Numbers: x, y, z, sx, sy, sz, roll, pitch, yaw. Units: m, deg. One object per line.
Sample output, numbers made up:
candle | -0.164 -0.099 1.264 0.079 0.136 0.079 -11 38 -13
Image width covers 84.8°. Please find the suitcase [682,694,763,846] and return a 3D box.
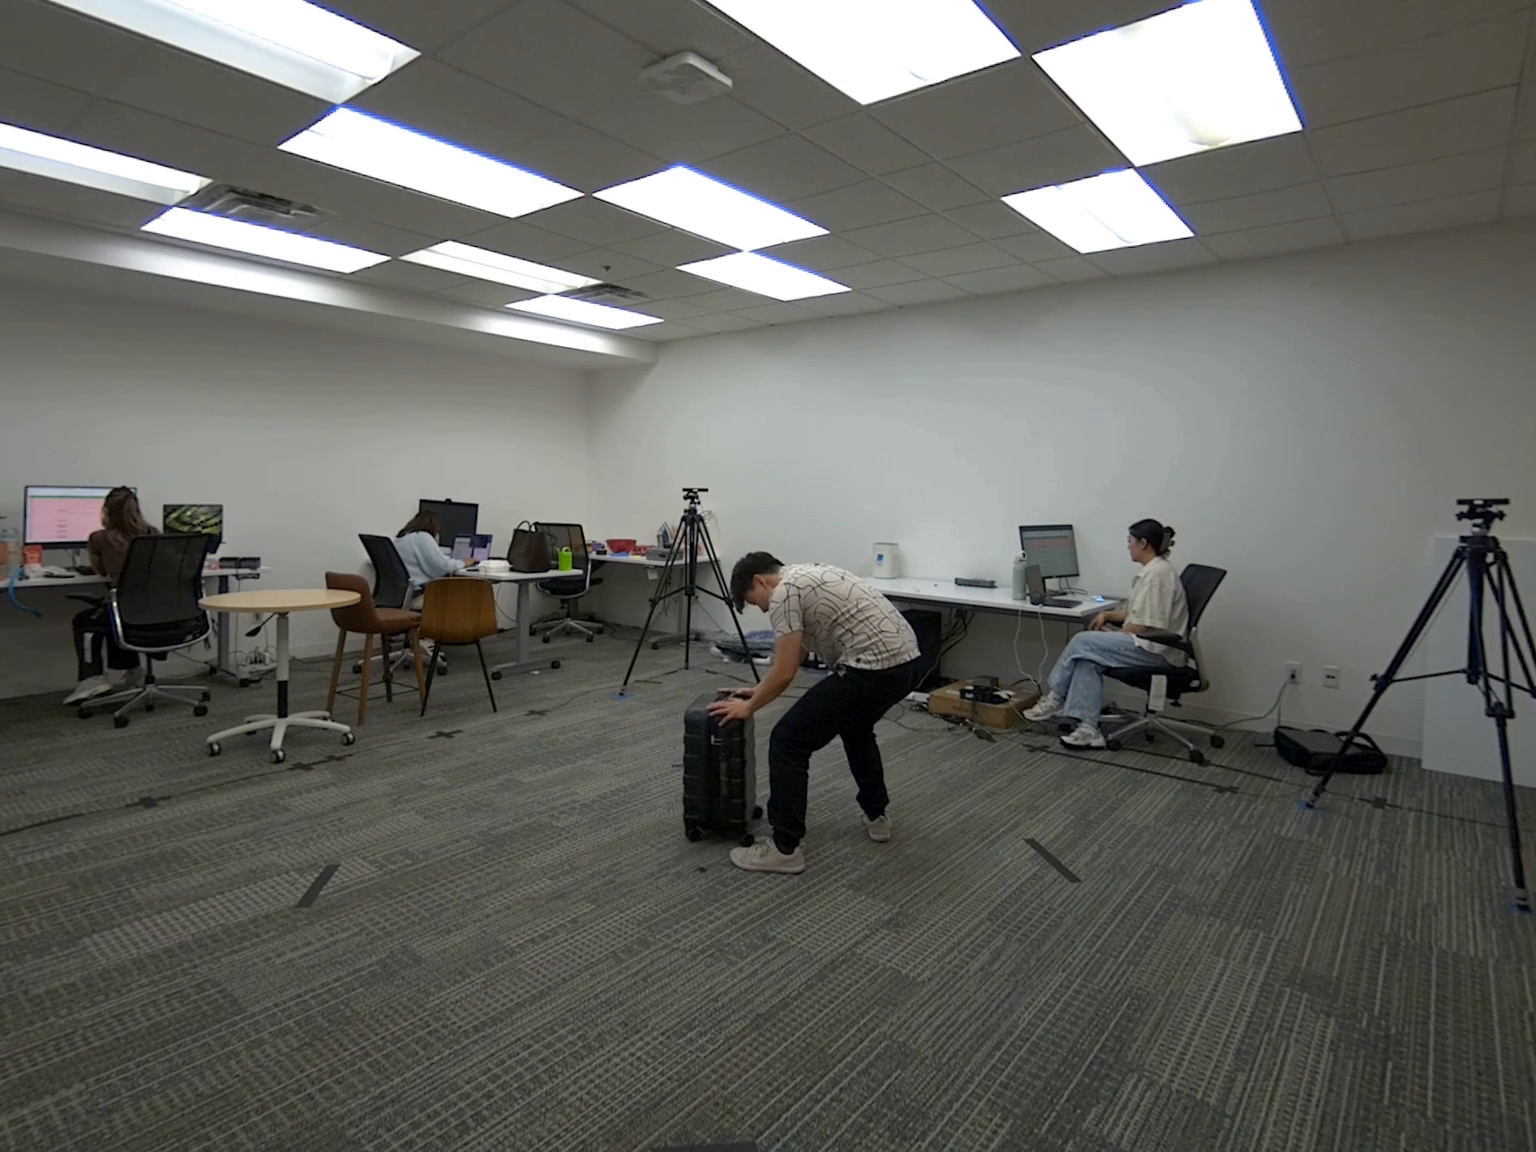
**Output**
suitcase | -0.203 0.763 3.474 0.251 0.548 0.373 0 3 8
